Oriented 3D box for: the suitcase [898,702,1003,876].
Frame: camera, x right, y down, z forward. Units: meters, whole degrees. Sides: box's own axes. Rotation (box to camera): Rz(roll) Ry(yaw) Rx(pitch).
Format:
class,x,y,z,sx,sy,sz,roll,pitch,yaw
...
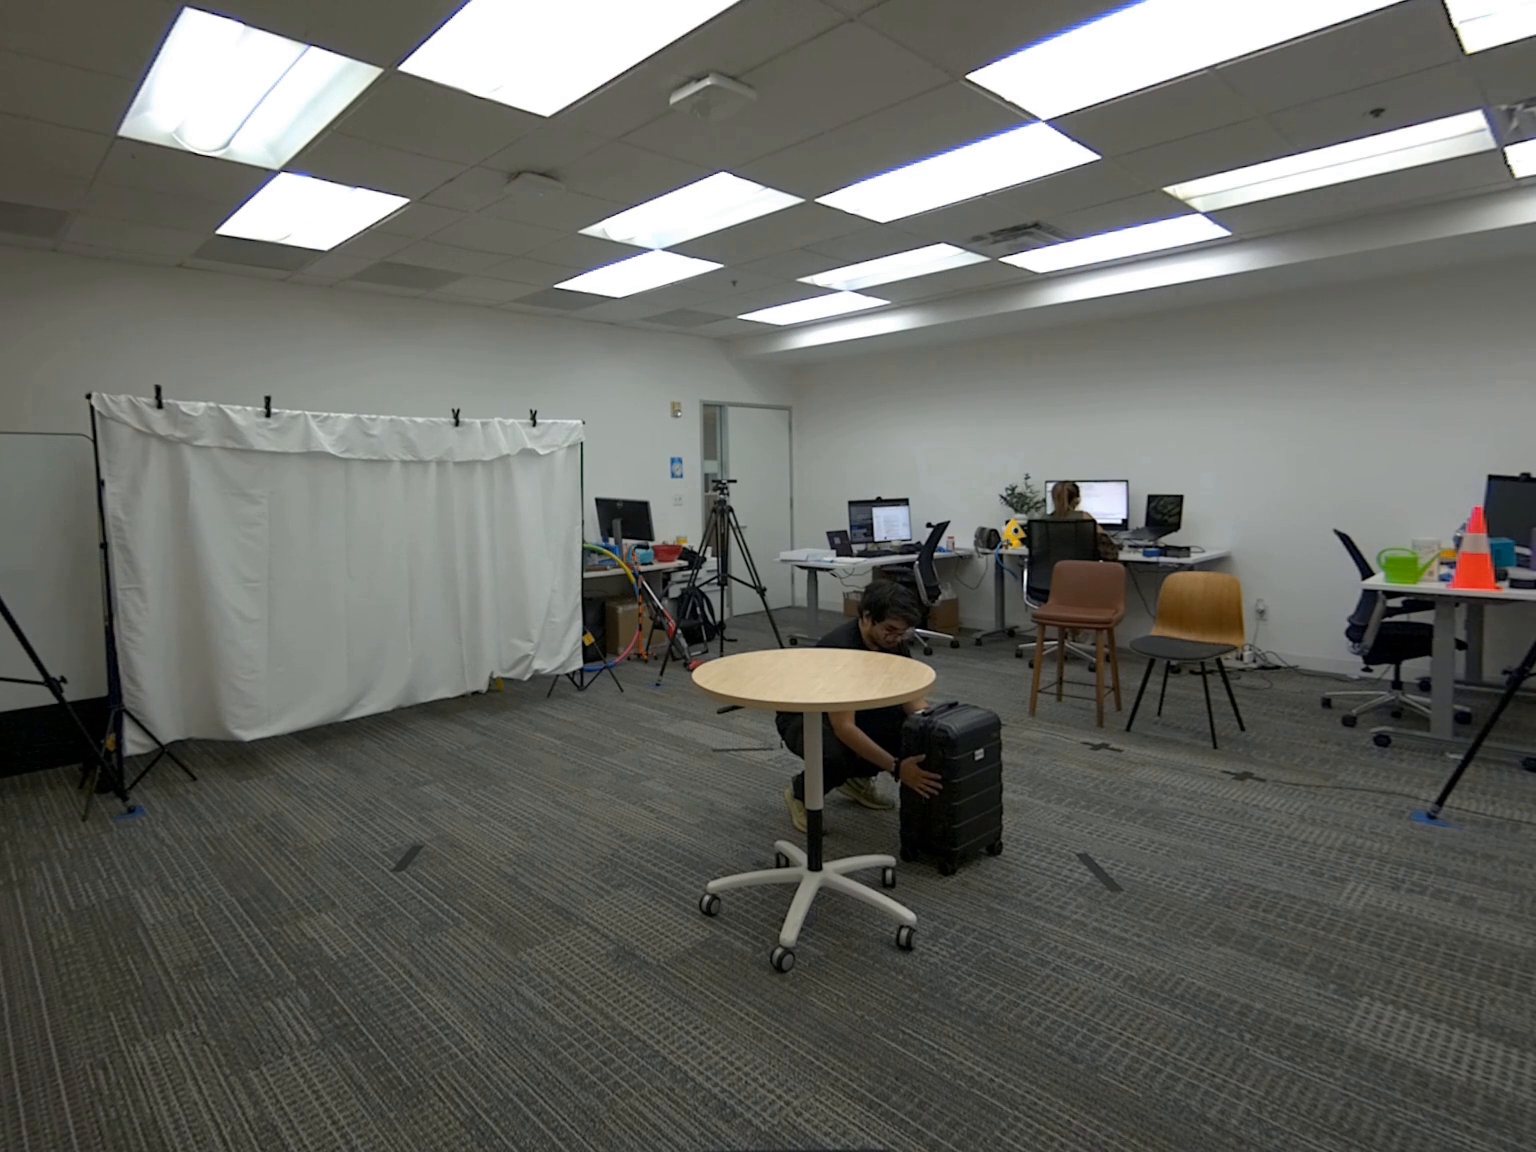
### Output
class,x,y,z,sx,sy,sz,roll,pitch,yaw
suitcase,0.669,0.759,3.144,0.256,0.547,0.365,4,6,44
